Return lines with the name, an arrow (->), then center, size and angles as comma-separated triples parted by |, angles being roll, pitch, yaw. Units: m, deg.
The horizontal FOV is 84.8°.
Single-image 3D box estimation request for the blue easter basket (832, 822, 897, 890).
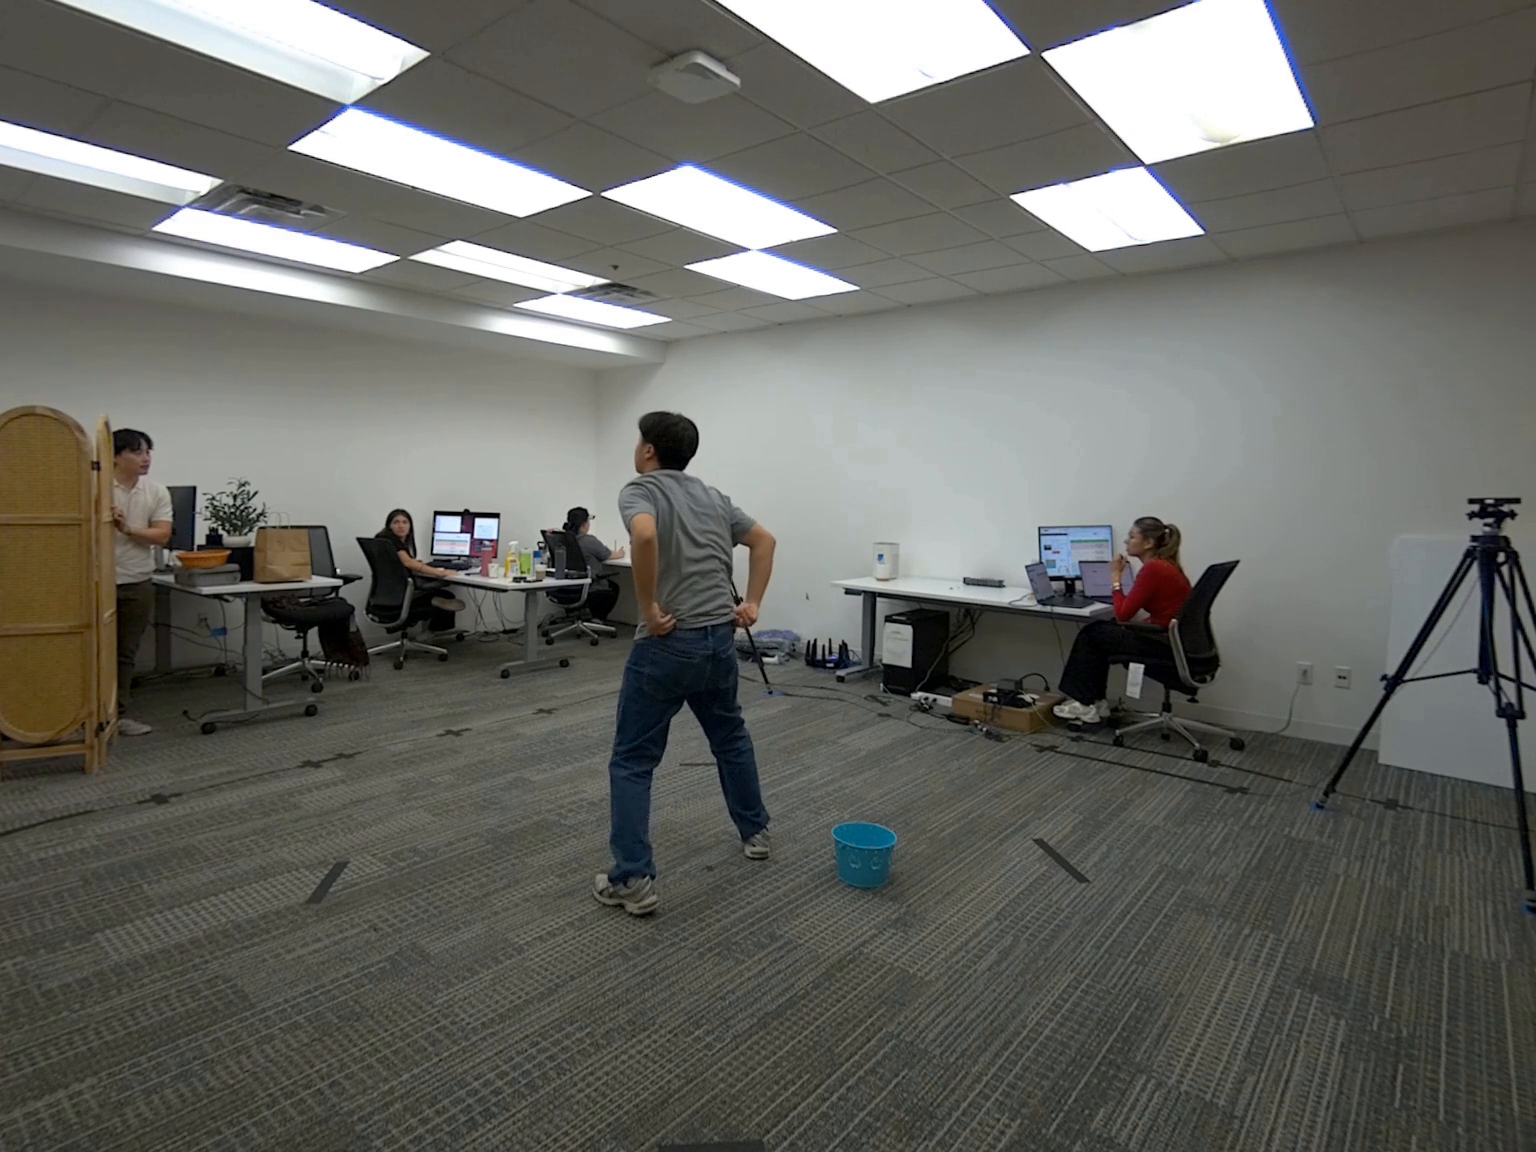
blue easter basket -> 0.337, 1.006, 3.078 | 0.243, 0.155, 0.245 | 1, 5, -2
